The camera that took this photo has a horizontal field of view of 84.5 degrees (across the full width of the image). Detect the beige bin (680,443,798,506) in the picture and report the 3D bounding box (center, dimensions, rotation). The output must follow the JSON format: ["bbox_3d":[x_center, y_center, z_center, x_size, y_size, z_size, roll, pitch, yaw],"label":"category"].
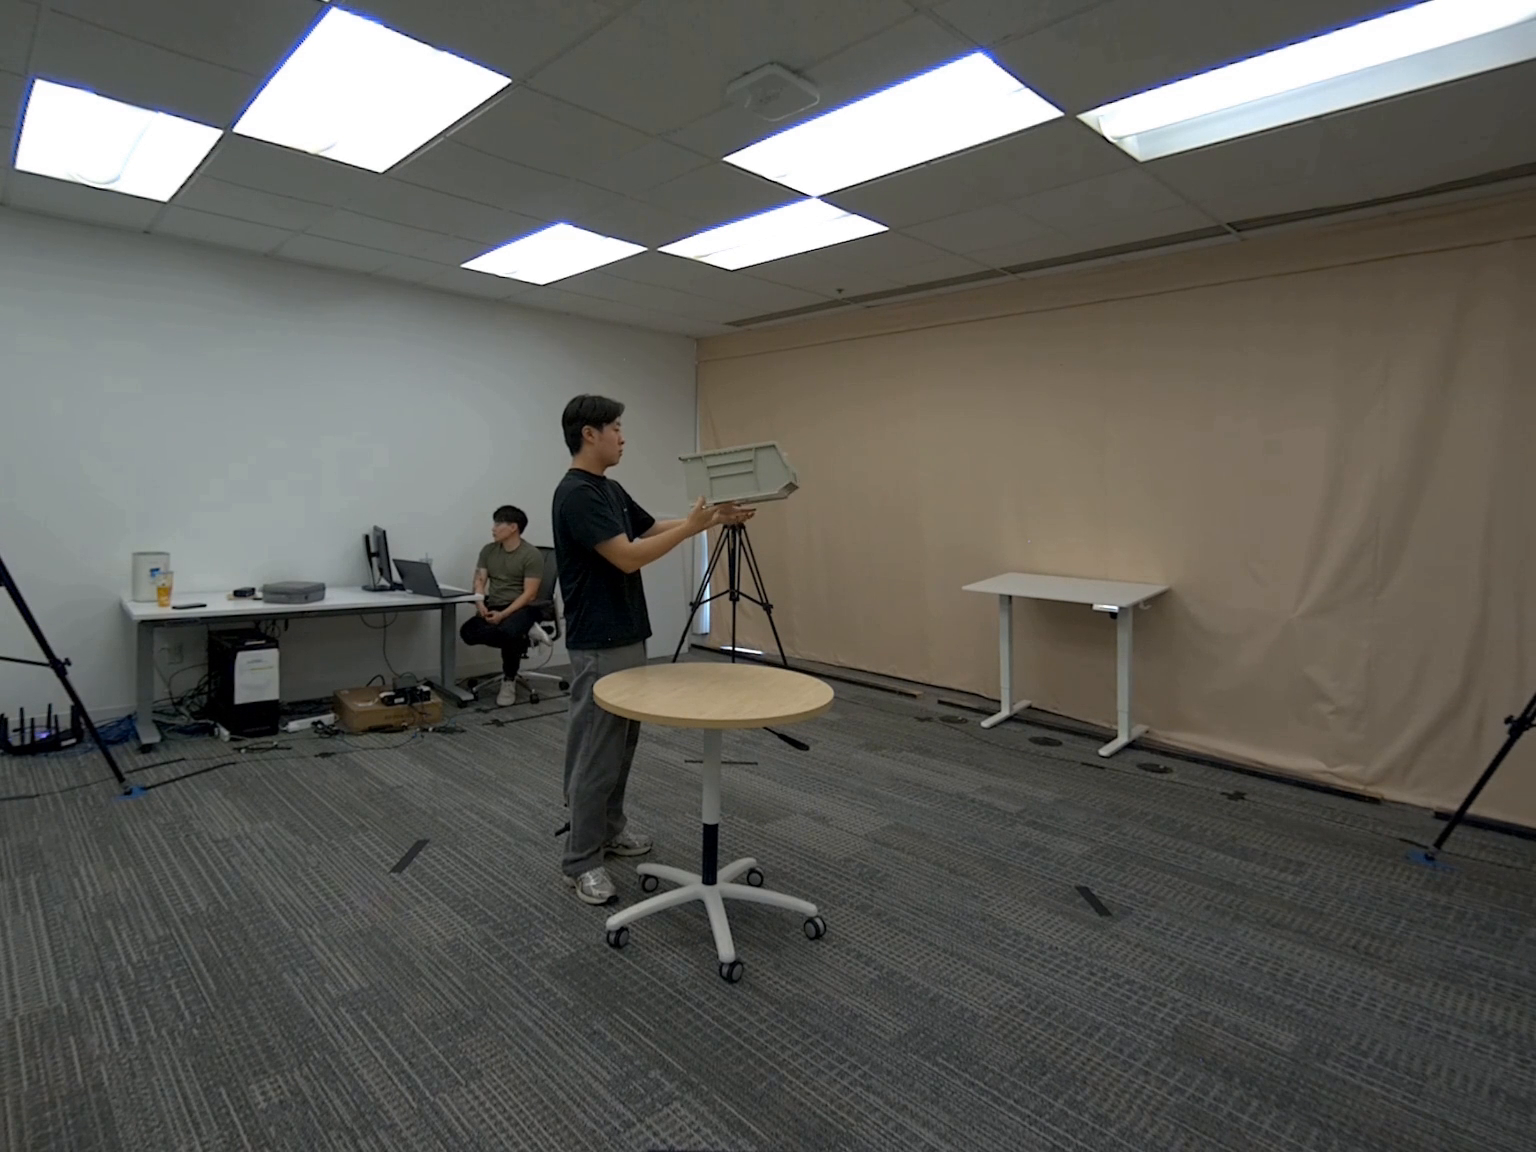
[{"bbox_3d":[-0.098,-0.357,3.079,0.379,0.189,0.421,-8,3,5],"label":"beige bin"}]
